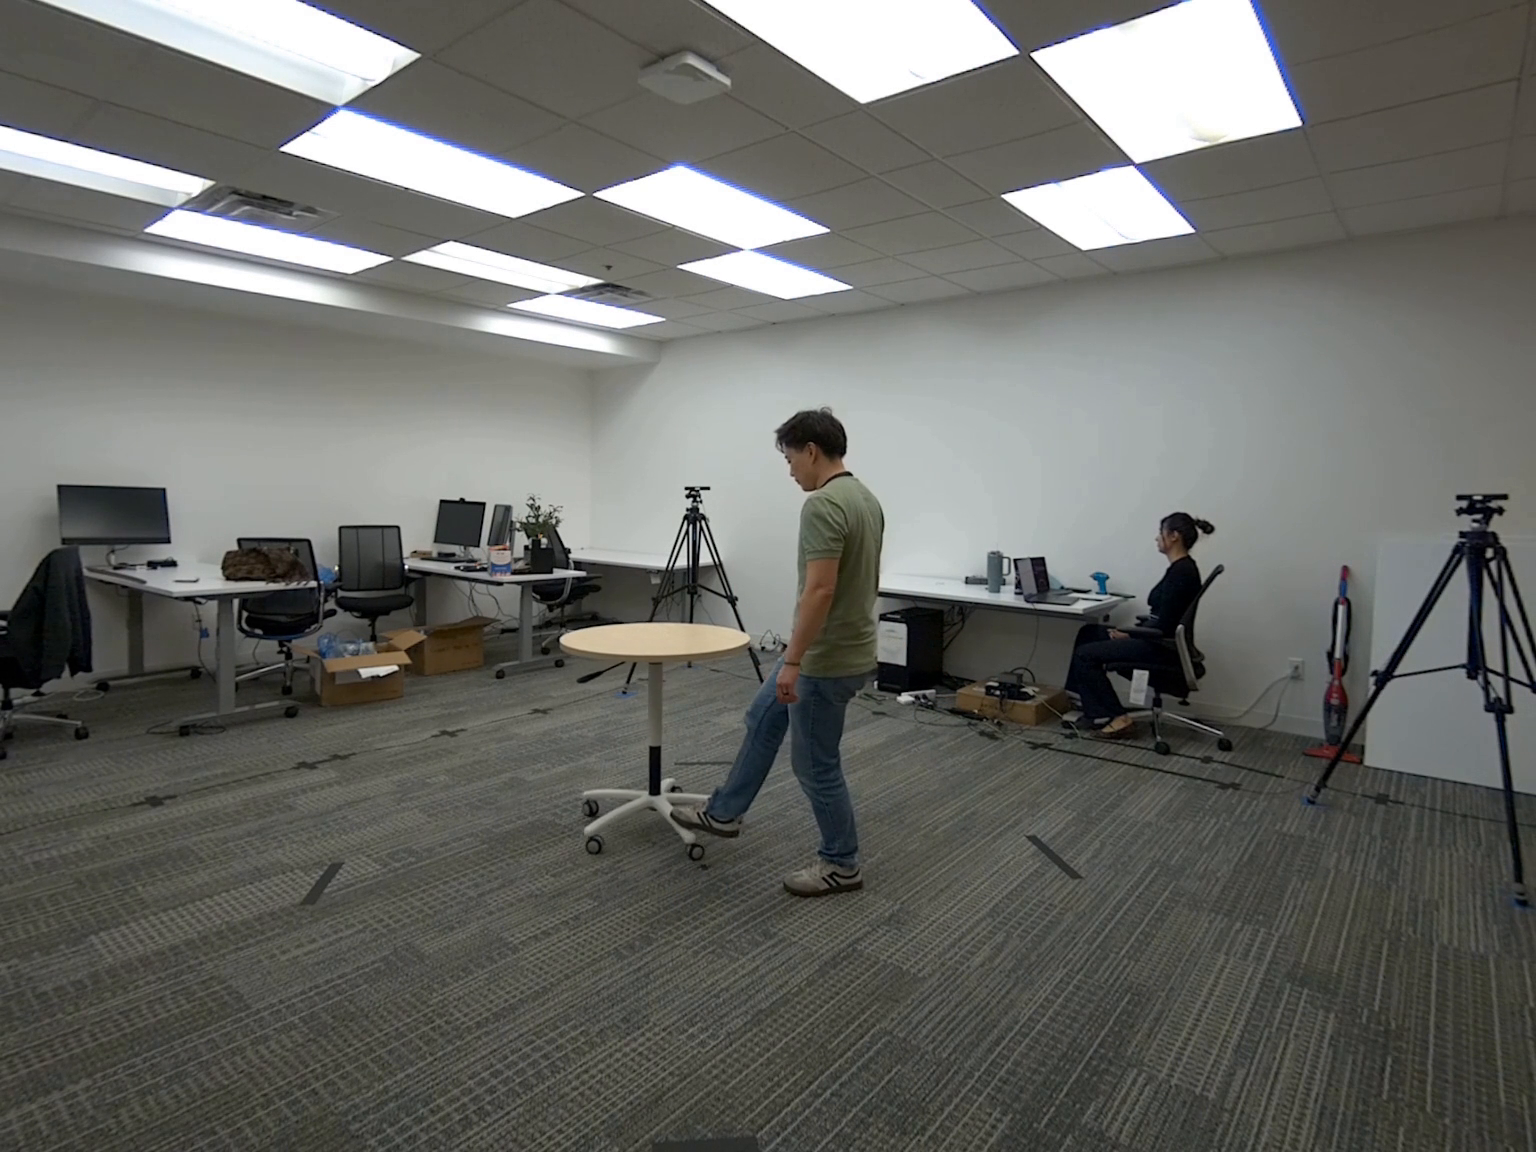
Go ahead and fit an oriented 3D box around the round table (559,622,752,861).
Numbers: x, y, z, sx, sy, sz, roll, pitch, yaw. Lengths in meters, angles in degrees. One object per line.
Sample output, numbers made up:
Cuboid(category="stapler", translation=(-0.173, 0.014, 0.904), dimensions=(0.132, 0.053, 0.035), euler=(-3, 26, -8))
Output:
Cuboid(category="round table", translation=(-0.466, 0.639, 3.457), dimensions=(0.763, 0.792, 0.767), euler=(0, 4, -2))
